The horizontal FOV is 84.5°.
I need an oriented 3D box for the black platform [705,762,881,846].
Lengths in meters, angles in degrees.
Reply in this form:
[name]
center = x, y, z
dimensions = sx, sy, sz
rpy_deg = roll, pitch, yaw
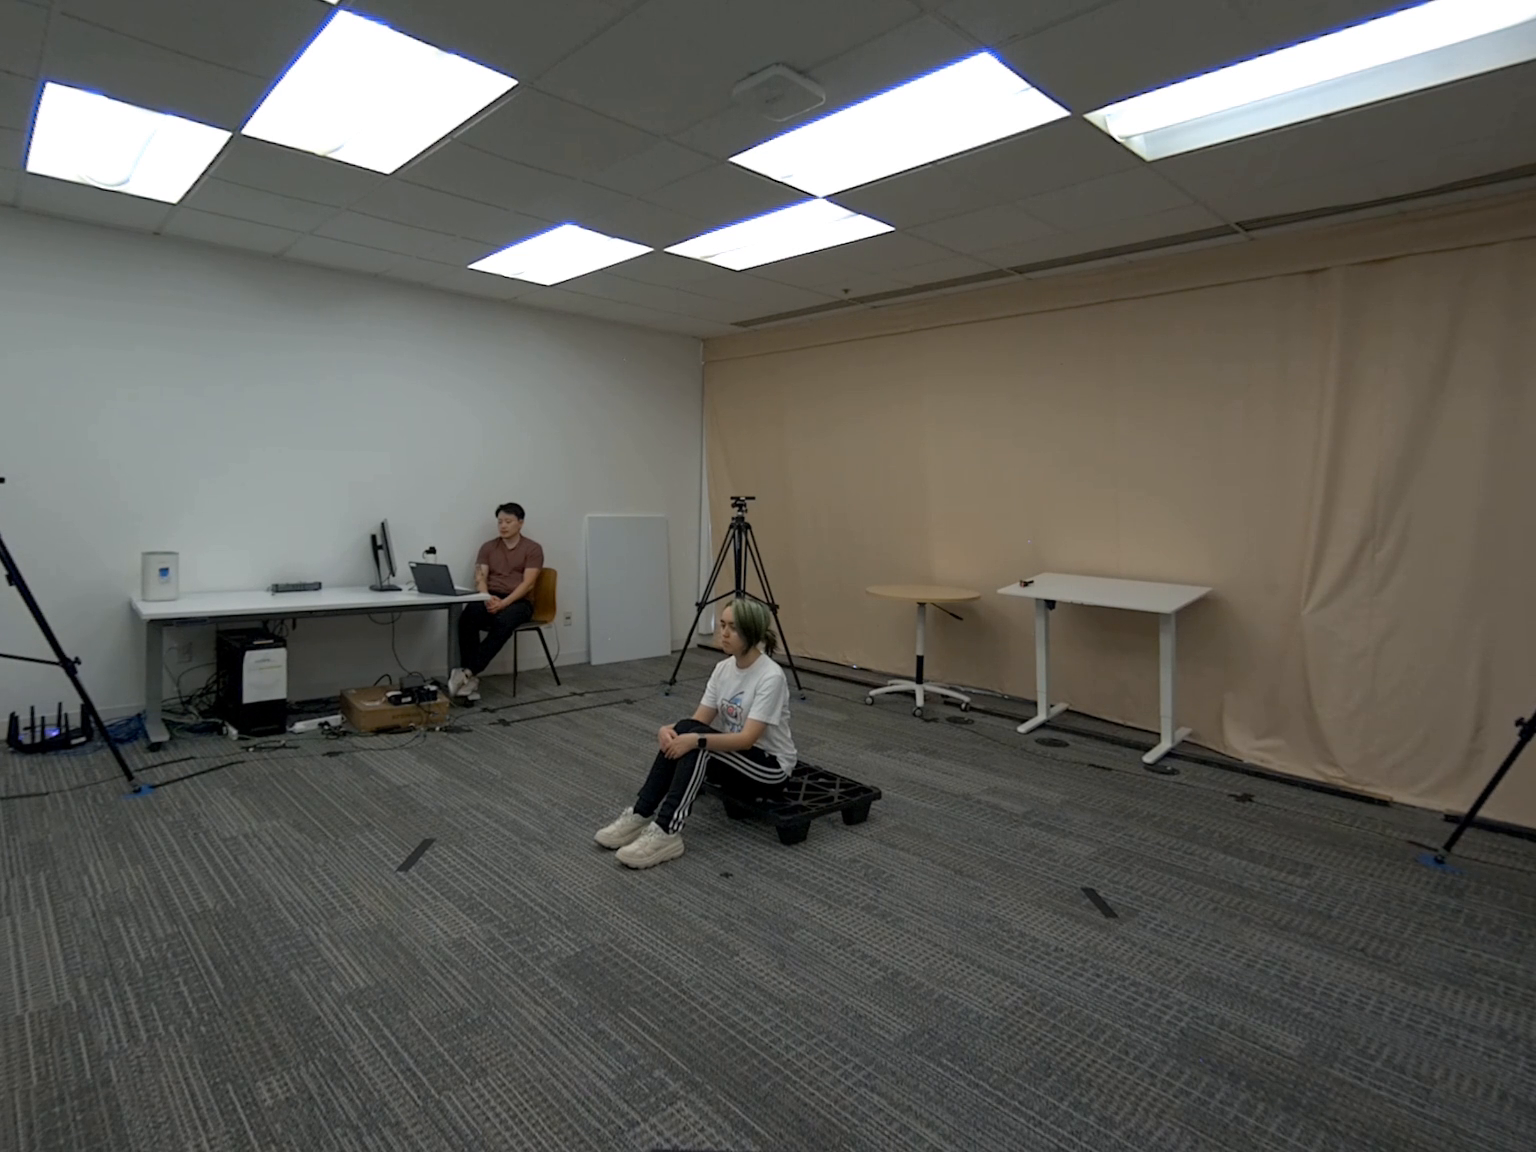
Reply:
[black platform]
center = 0.008, 0.980, 3.802
dimensions = 0.591, 0.143, 0.826
rpy_deg = -3, 6, -40
